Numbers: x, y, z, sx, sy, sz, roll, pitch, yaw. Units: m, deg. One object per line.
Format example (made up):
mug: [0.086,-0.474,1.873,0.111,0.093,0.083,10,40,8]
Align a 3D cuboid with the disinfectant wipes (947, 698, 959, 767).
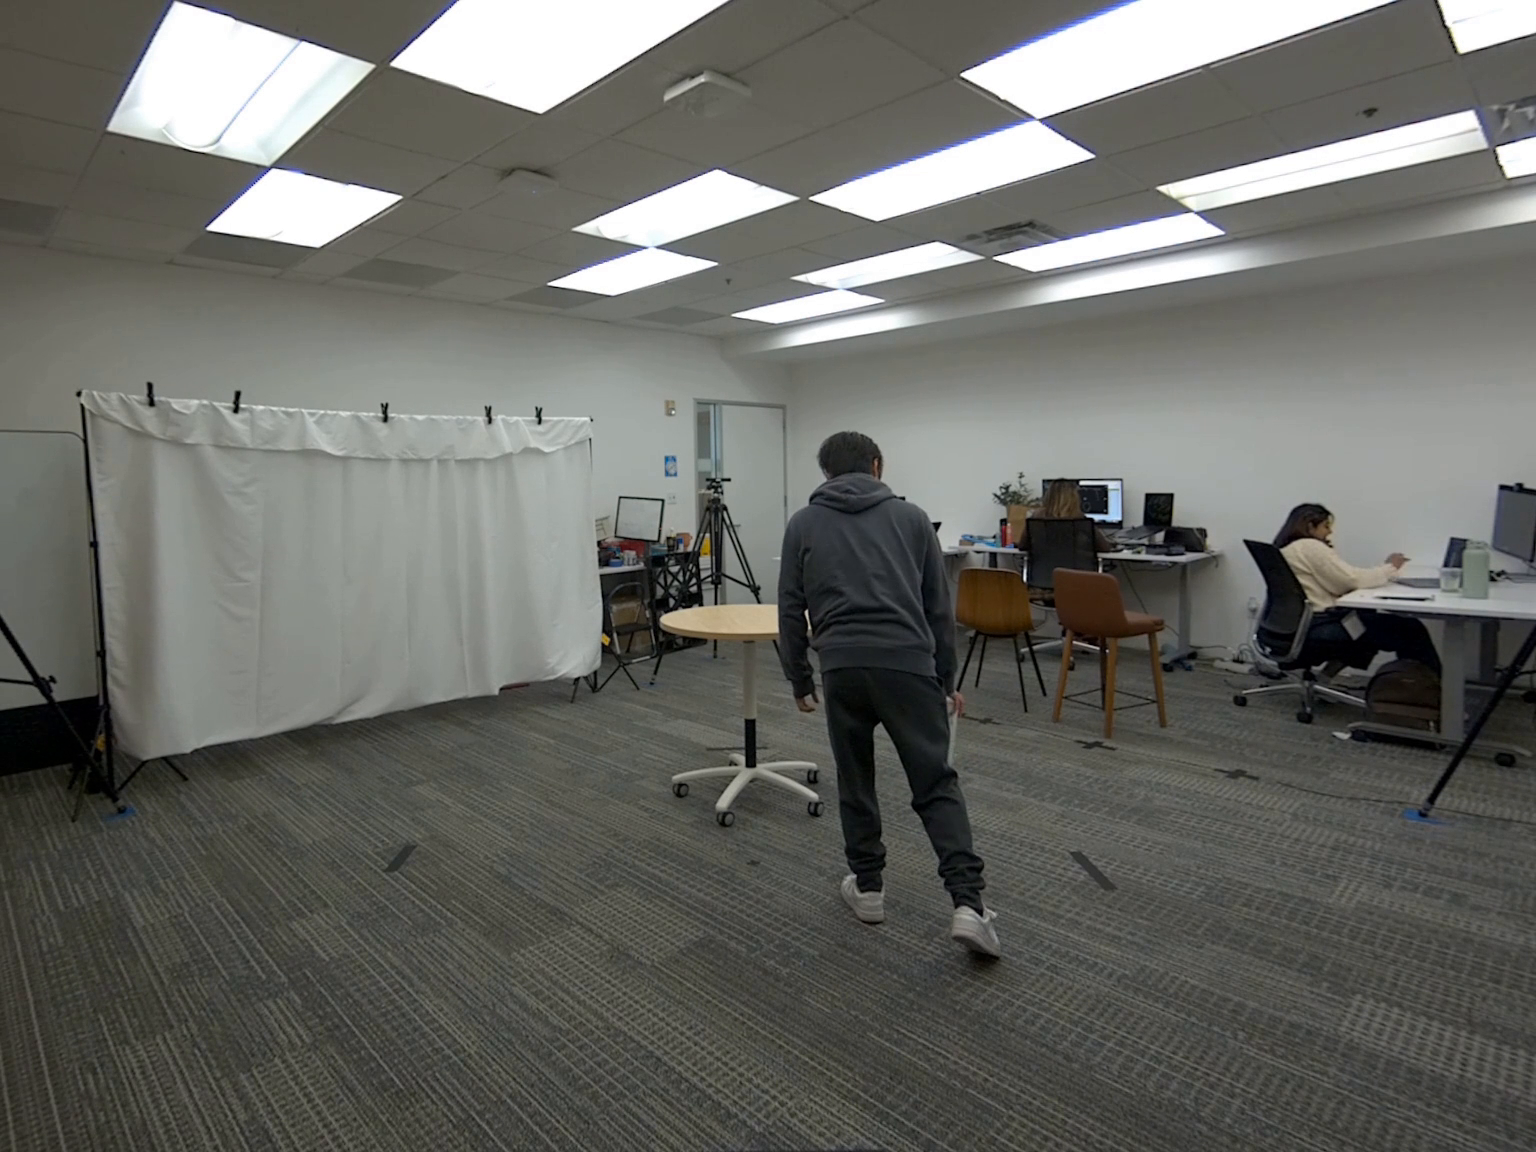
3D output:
disinfectant wipes: [0.595,0.523,2.861,0.117,0.217,0.118,4,2,-2]
